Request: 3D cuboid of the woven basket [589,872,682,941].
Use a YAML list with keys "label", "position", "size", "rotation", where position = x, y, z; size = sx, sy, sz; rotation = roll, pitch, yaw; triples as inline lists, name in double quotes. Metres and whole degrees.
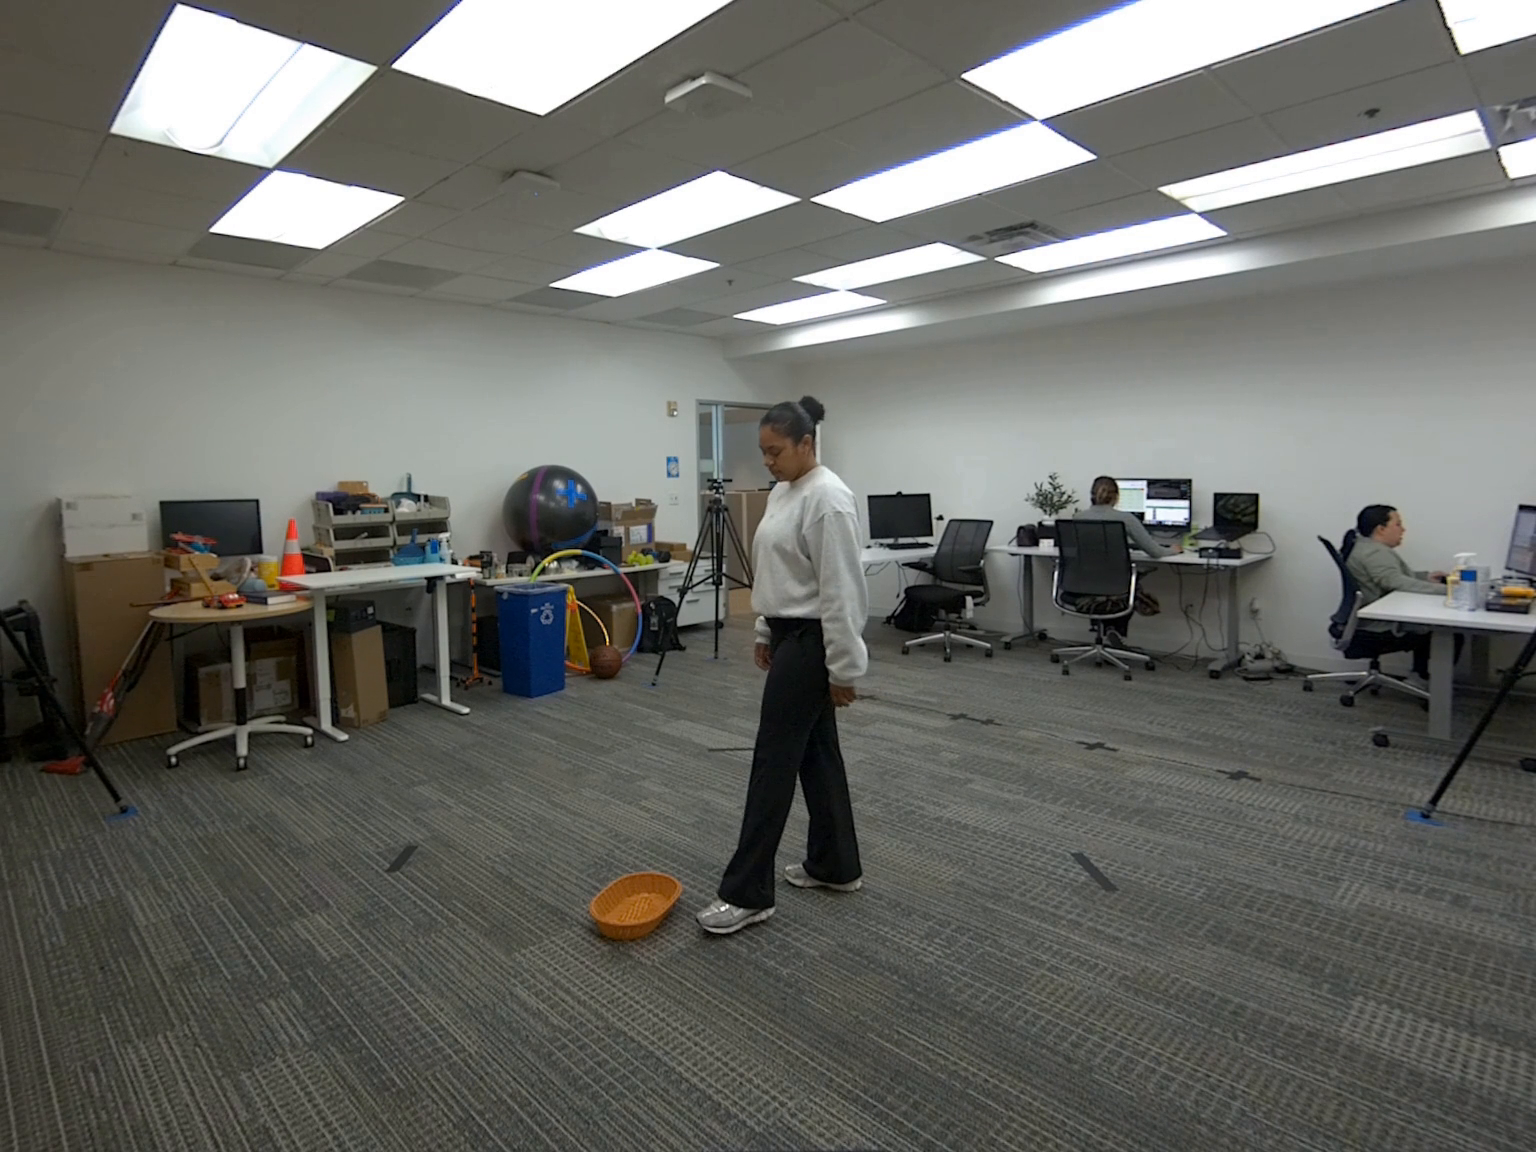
- label: "woven basket"
  position: [-0.417, 1.058, 2.733]
  size: [0.258, 0.073, 0.345]
  rotation: [2, 7, 22]
